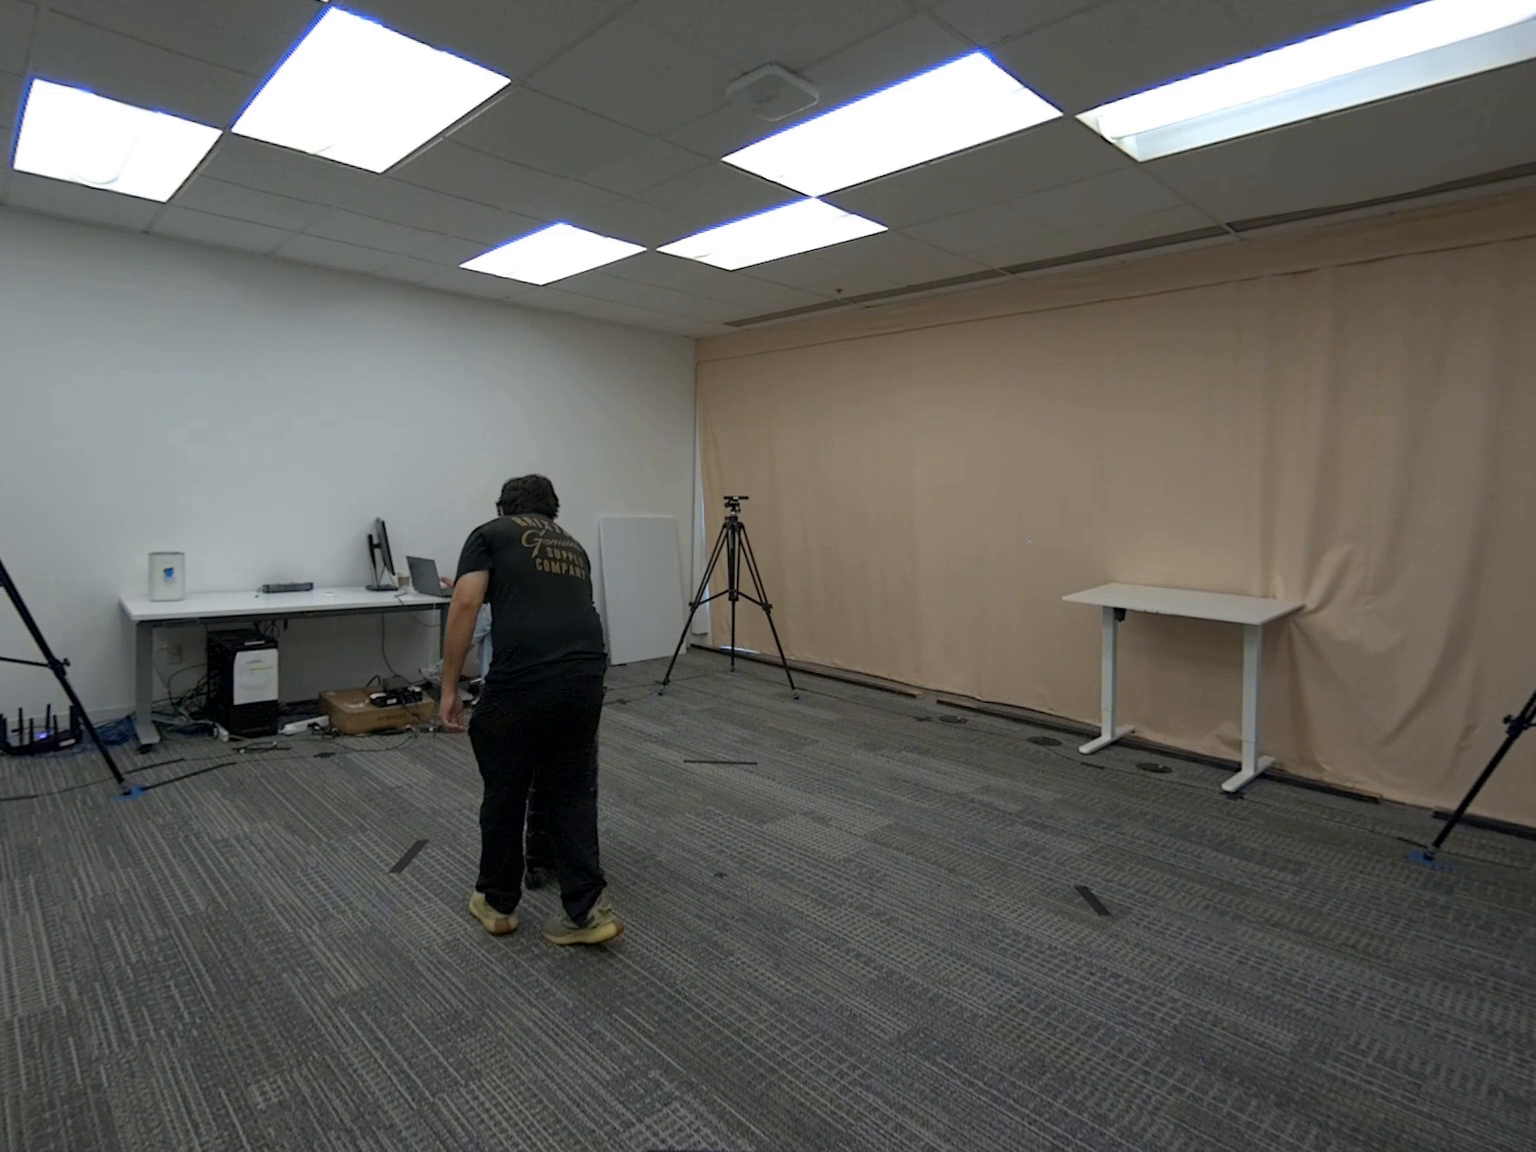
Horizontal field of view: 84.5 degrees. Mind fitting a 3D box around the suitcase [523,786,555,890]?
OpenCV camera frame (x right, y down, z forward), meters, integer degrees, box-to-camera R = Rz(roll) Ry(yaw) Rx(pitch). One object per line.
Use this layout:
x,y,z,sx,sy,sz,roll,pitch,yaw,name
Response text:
-0.766,0.817,3.137,0.246,0.548,0.379,1,3,-11,suitcase
